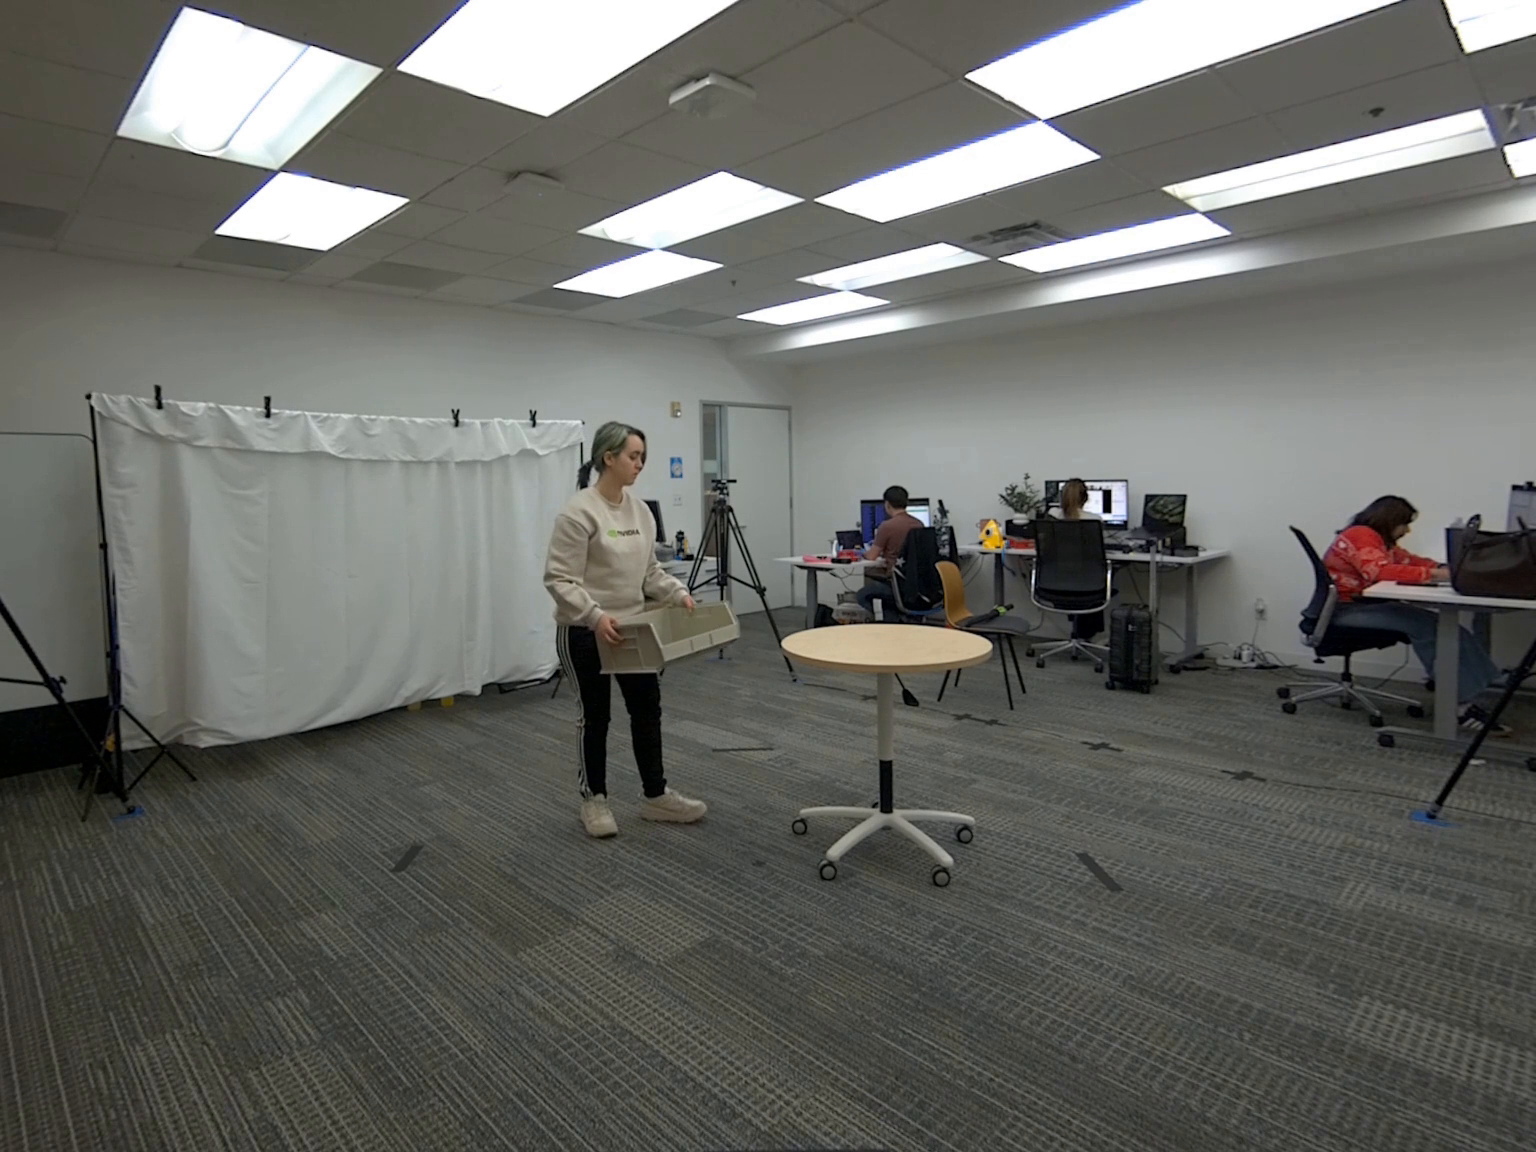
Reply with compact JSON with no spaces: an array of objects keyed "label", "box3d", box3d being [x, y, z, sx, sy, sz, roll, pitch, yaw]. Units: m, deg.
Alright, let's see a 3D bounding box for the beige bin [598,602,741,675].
[{"label":"beige bin","box3d":[-0.383,0.224,3.227,0.386,0.189,0.413,-9,4,42]}]
